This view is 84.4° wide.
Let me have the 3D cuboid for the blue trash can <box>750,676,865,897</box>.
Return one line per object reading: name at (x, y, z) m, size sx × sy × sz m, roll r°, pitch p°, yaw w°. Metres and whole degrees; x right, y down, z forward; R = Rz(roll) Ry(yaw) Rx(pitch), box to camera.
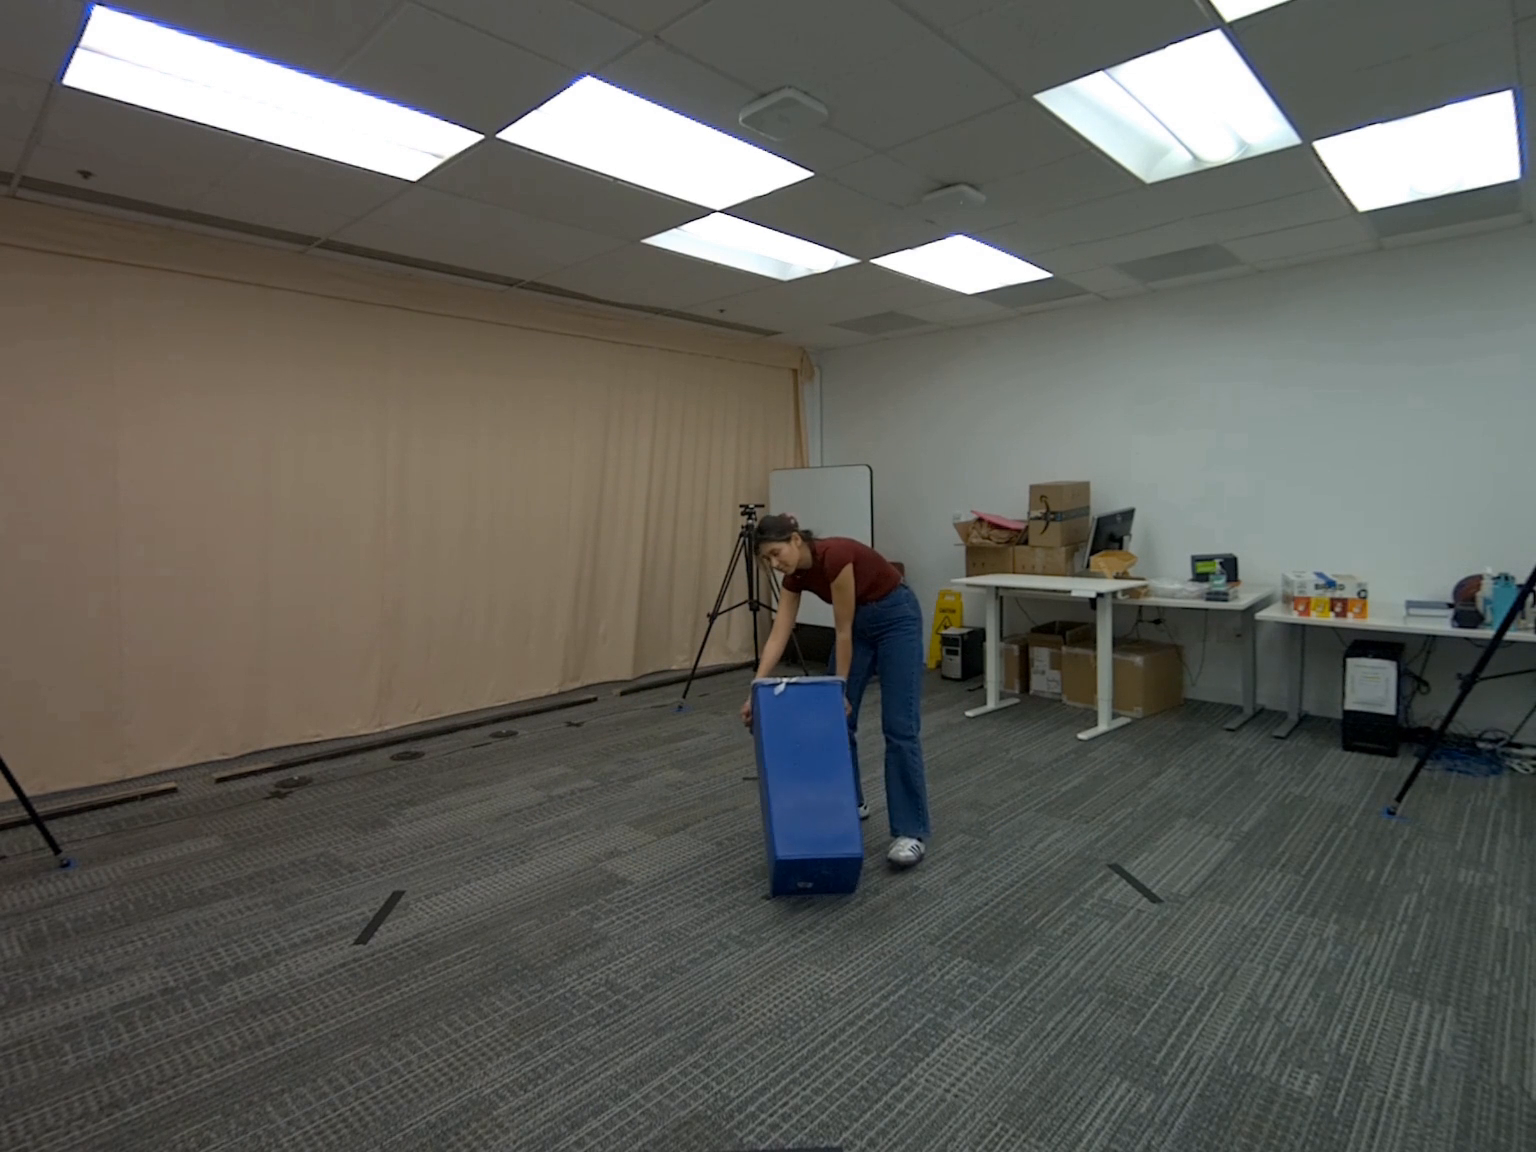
blue trash can at (0.141, 0.780, 3.134) m, size 0.377 × 0.367 × 0.728 m, roll -1°, pitch 46°, yaw -3°
